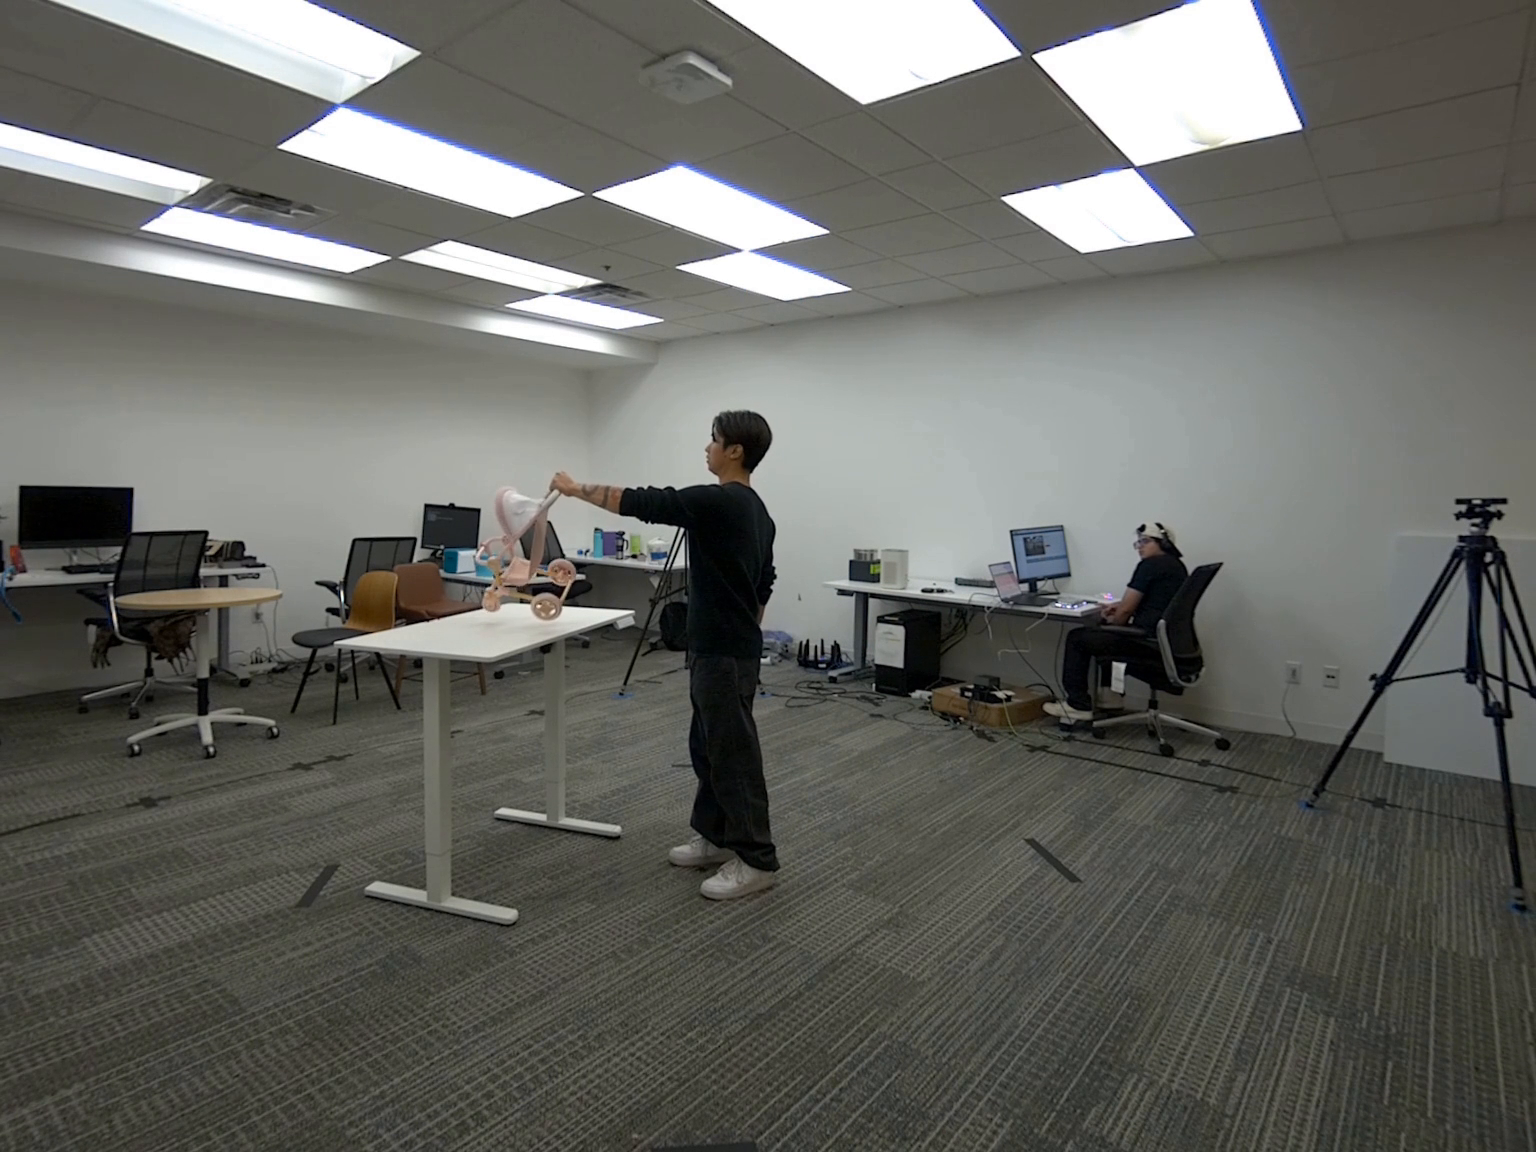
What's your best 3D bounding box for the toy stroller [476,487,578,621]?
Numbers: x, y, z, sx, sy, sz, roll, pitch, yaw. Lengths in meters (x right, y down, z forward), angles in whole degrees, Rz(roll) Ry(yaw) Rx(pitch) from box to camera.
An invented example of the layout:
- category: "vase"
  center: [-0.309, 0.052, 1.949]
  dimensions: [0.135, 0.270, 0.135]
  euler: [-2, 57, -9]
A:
- category: "toy stroller"
  center: [-0.899, -0.097, 3.048]
  dimensions: [0.344, 0.523, 0.286]
  euler: [4, 28, 5]
